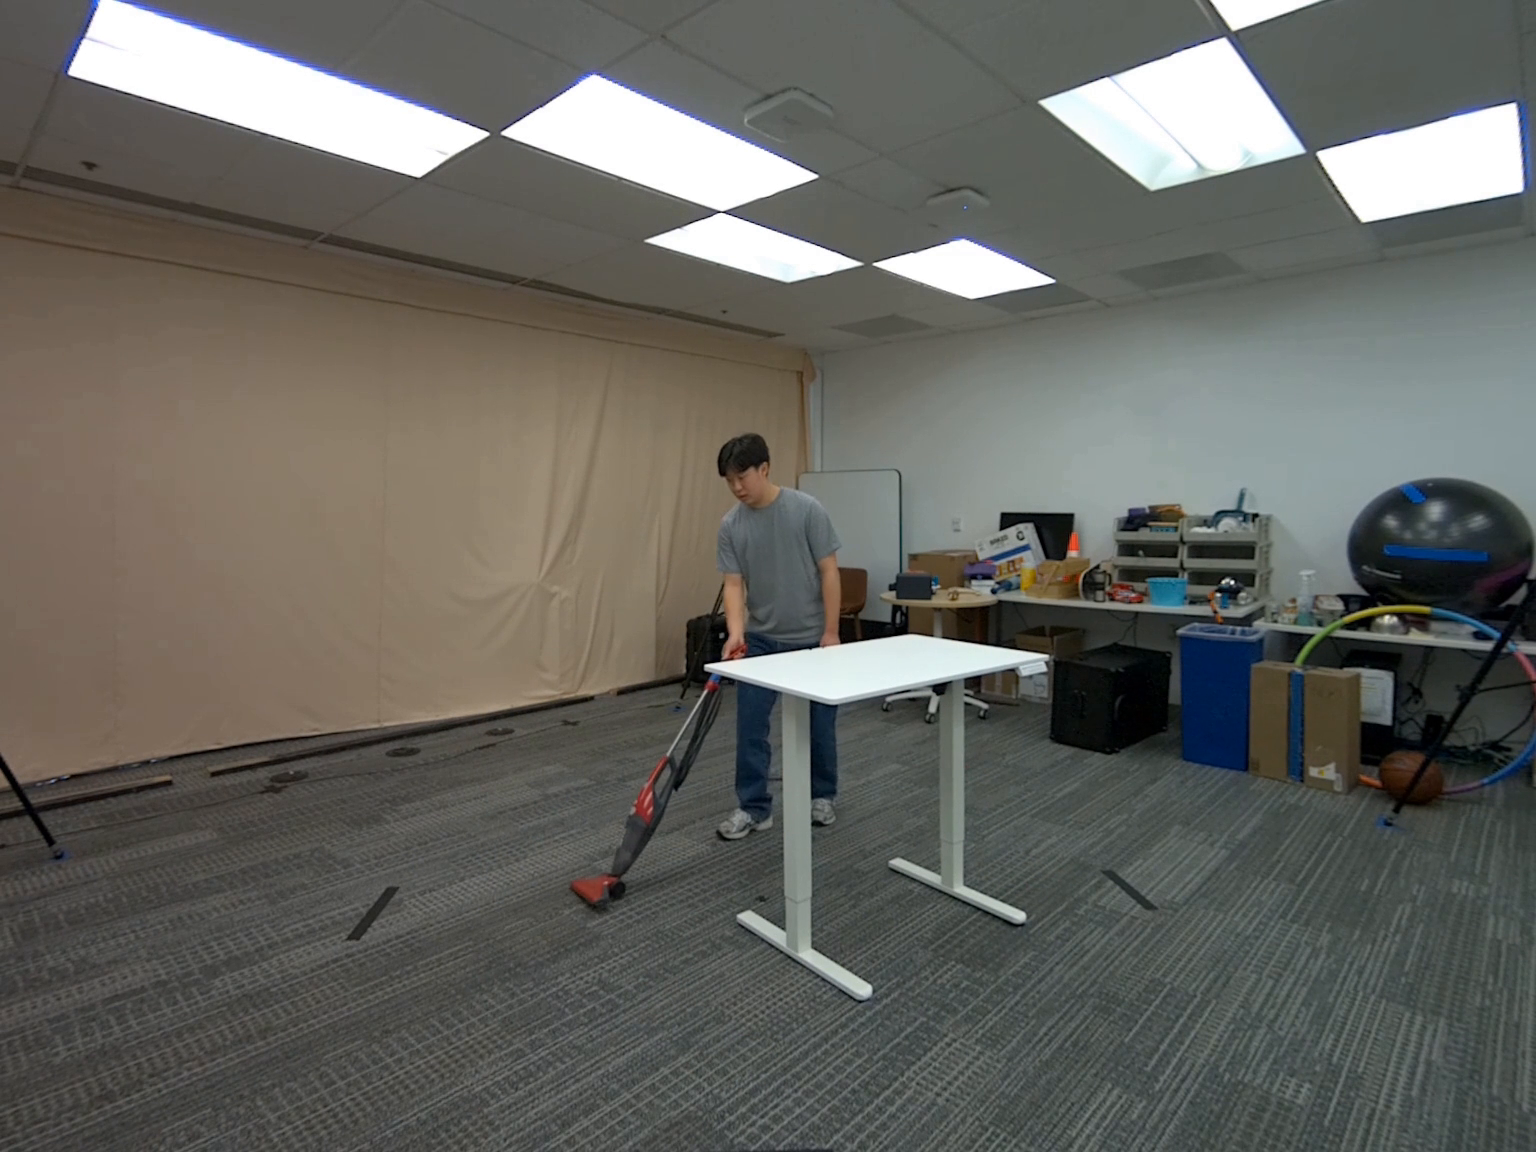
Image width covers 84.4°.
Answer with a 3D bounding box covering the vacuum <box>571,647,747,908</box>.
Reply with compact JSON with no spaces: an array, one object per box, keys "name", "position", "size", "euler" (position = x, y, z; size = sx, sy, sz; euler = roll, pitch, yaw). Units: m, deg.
[{"name":"vacuum","position":[-0.349,0.717,3.202],"size":[0.140,1.048,0.259],"euler":[43,-24,-24]}]
